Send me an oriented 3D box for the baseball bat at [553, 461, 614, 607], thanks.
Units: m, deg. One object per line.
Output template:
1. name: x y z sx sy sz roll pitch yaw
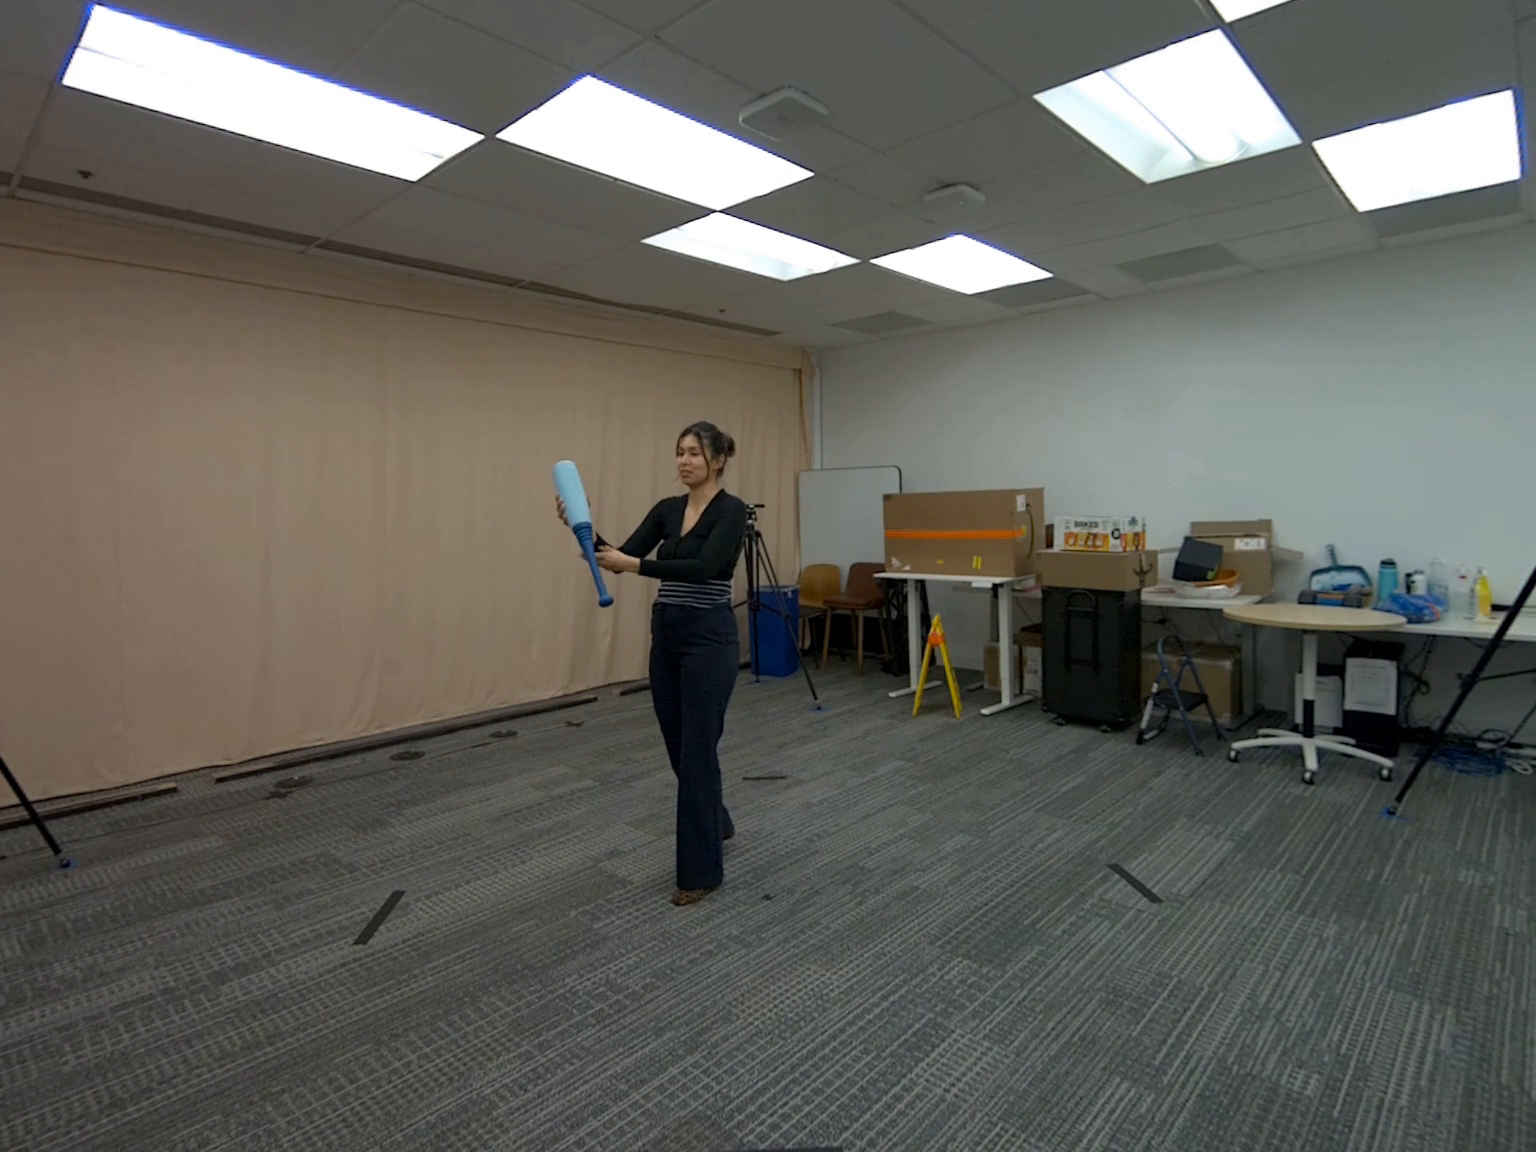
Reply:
1. baseball bat: -0.605 -0.136 2.762 0.088 0.555 0.088 -18 -24 -10
